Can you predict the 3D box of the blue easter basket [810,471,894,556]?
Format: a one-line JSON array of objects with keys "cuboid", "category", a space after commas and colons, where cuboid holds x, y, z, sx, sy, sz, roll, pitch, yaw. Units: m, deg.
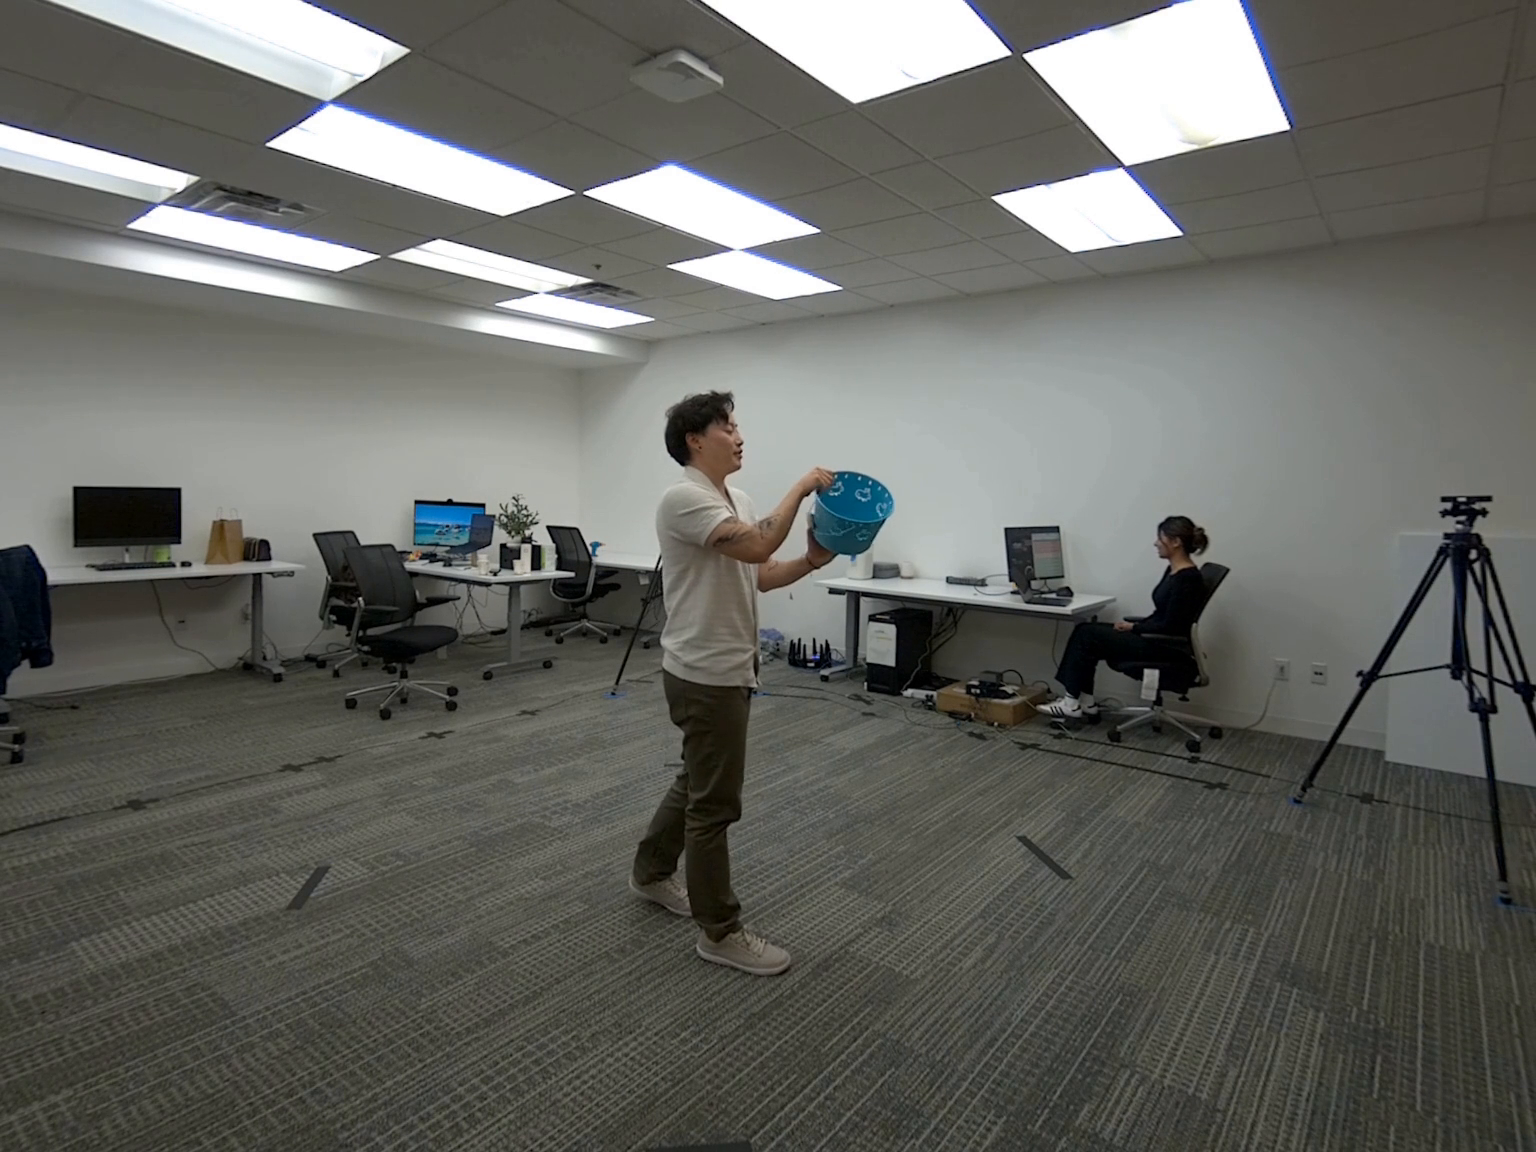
[{"cuboid": [0.225, -0.178, 2.473, 0.242, 0.152, 0.251, 5, 43, -7], "category": "blue easter basket"}]
